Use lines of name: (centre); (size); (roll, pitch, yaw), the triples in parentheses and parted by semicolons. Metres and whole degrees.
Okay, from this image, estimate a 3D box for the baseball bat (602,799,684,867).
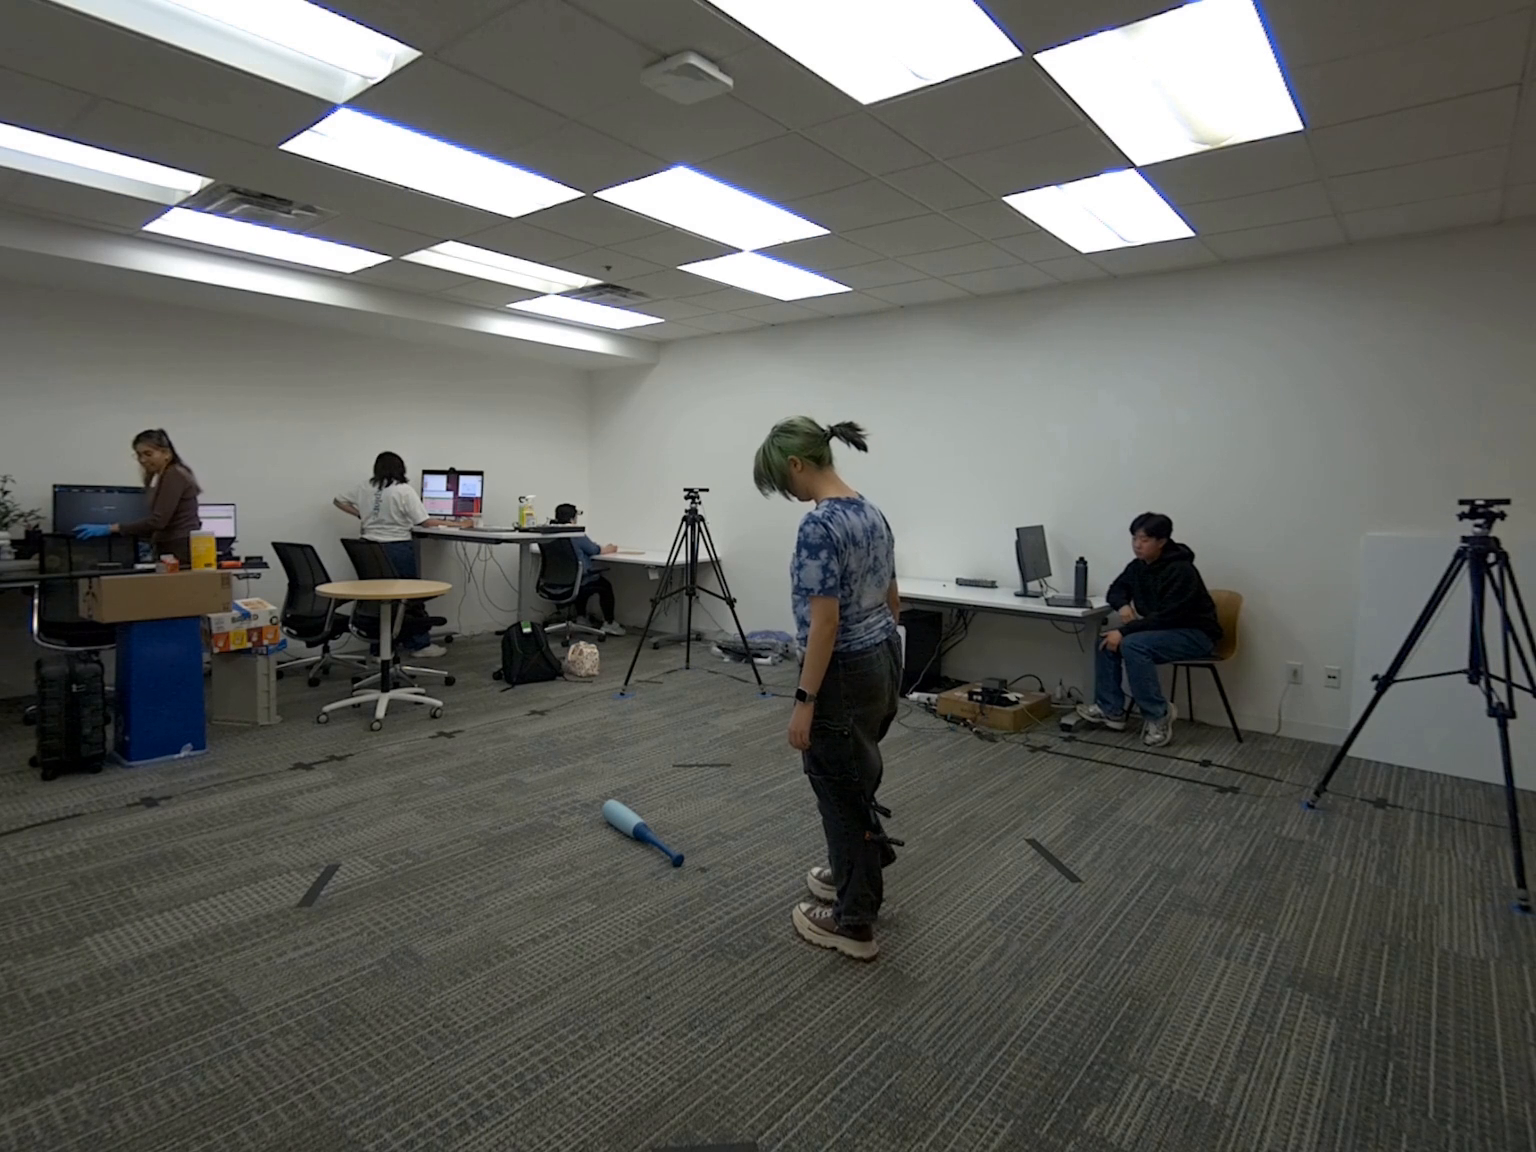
baseball bat: (-0.507, 1.010, 3.337); (0.086, 0.088, 0.562); (-2, 9, -37)
